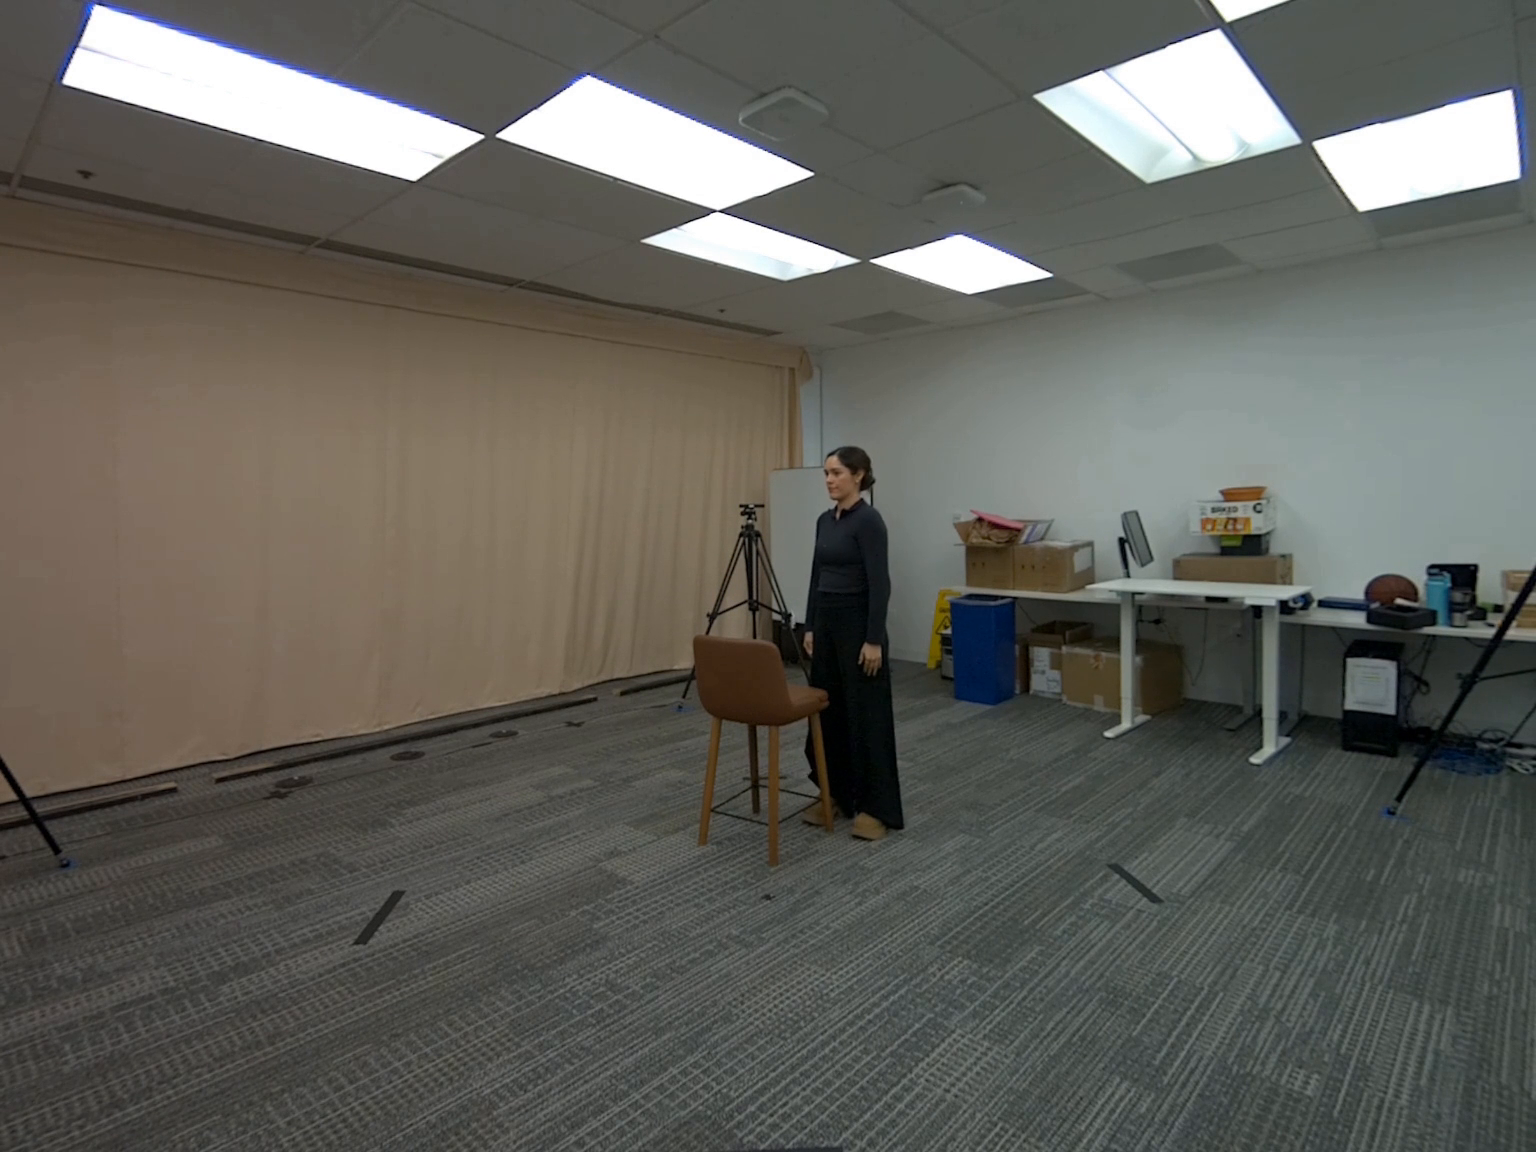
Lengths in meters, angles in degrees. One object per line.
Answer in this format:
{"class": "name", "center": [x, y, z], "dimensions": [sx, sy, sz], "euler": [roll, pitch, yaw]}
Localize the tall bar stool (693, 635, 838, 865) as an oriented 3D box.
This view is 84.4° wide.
{"class": "tall bar stool", "center": [-0.021, 0.660, 3.505], "dimensions": [0.471, 0.887, 0.454], "euler": [1, 5, 35]}
